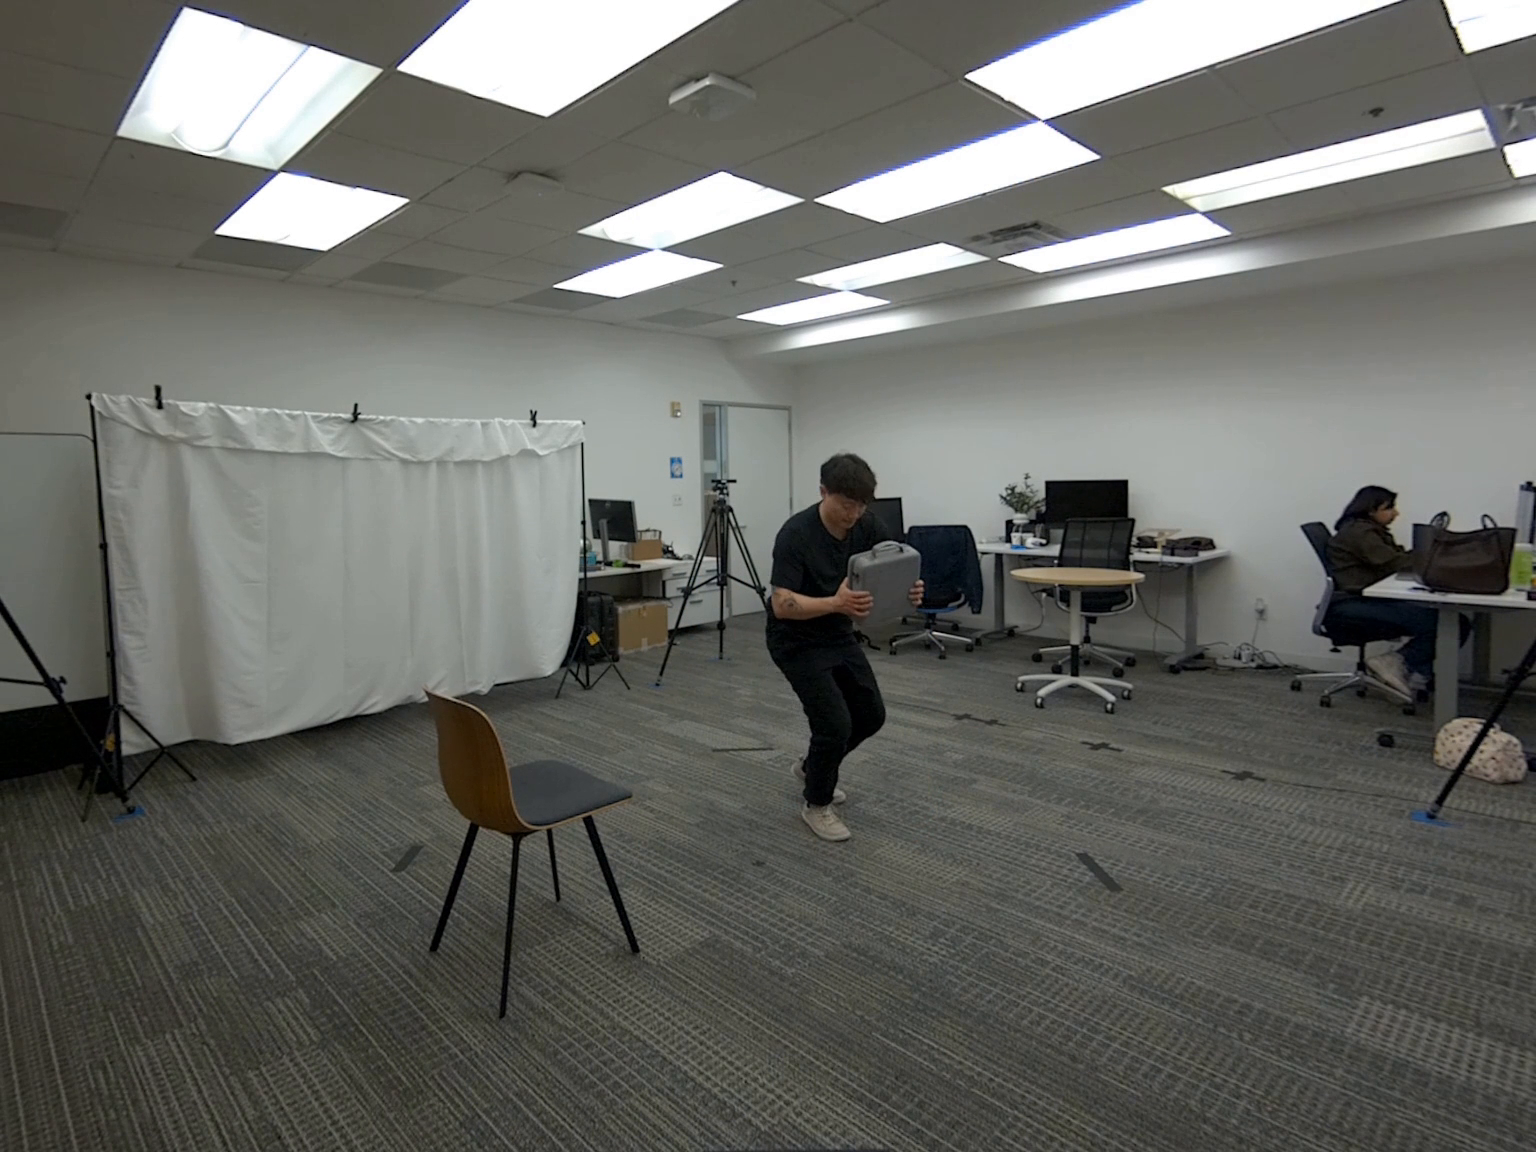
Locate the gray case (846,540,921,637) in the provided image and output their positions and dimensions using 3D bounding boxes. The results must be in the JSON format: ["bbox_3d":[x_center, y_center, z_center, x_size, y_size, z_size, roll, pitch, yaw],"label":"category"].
[{"bbox_3d":[0.412,0.032,3.010,0.253,0.255,0.108,-13,29,-23],"label":"gray case"}]
